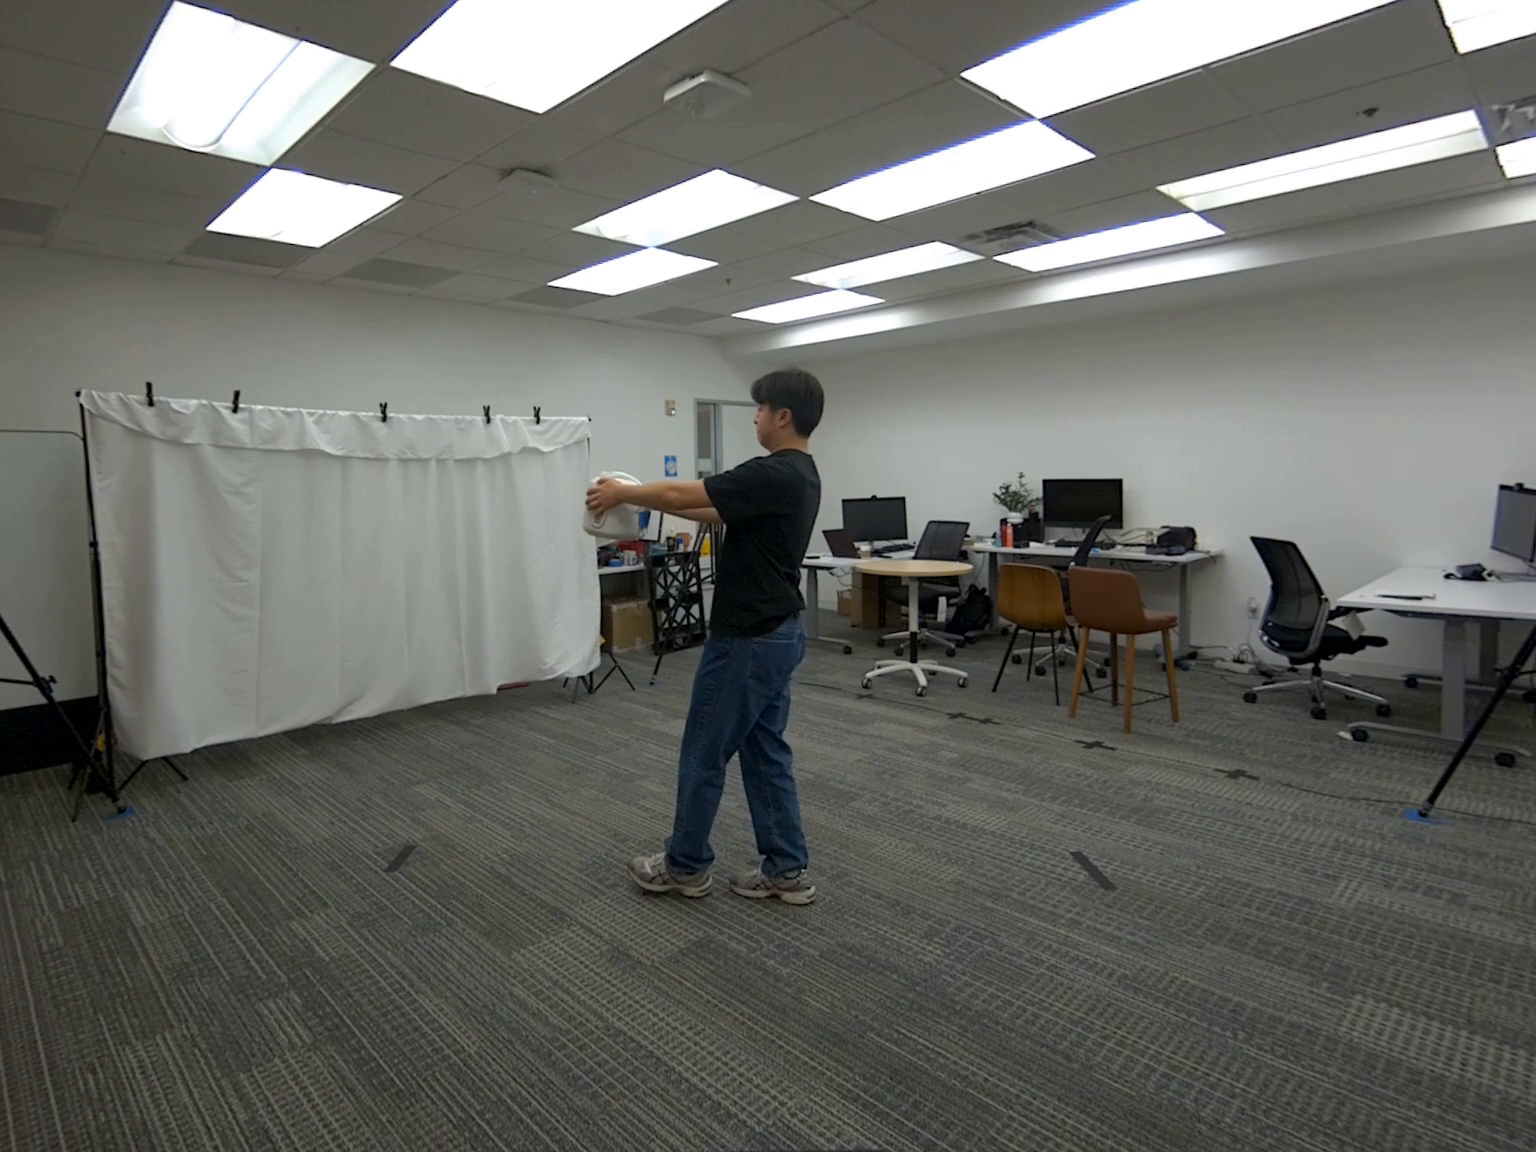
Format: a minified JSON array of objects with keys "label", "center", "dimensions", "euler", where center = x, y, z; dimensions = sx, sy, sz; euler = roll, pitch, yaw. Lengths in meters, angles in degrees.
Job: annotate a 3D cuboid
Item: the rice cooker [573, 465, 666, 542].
[{"label":"rice cooker","center":[-0.520,-0.255,3.011],"dimensions":[0.225,0.232,0.213],"euler":[8,4,20]}]
